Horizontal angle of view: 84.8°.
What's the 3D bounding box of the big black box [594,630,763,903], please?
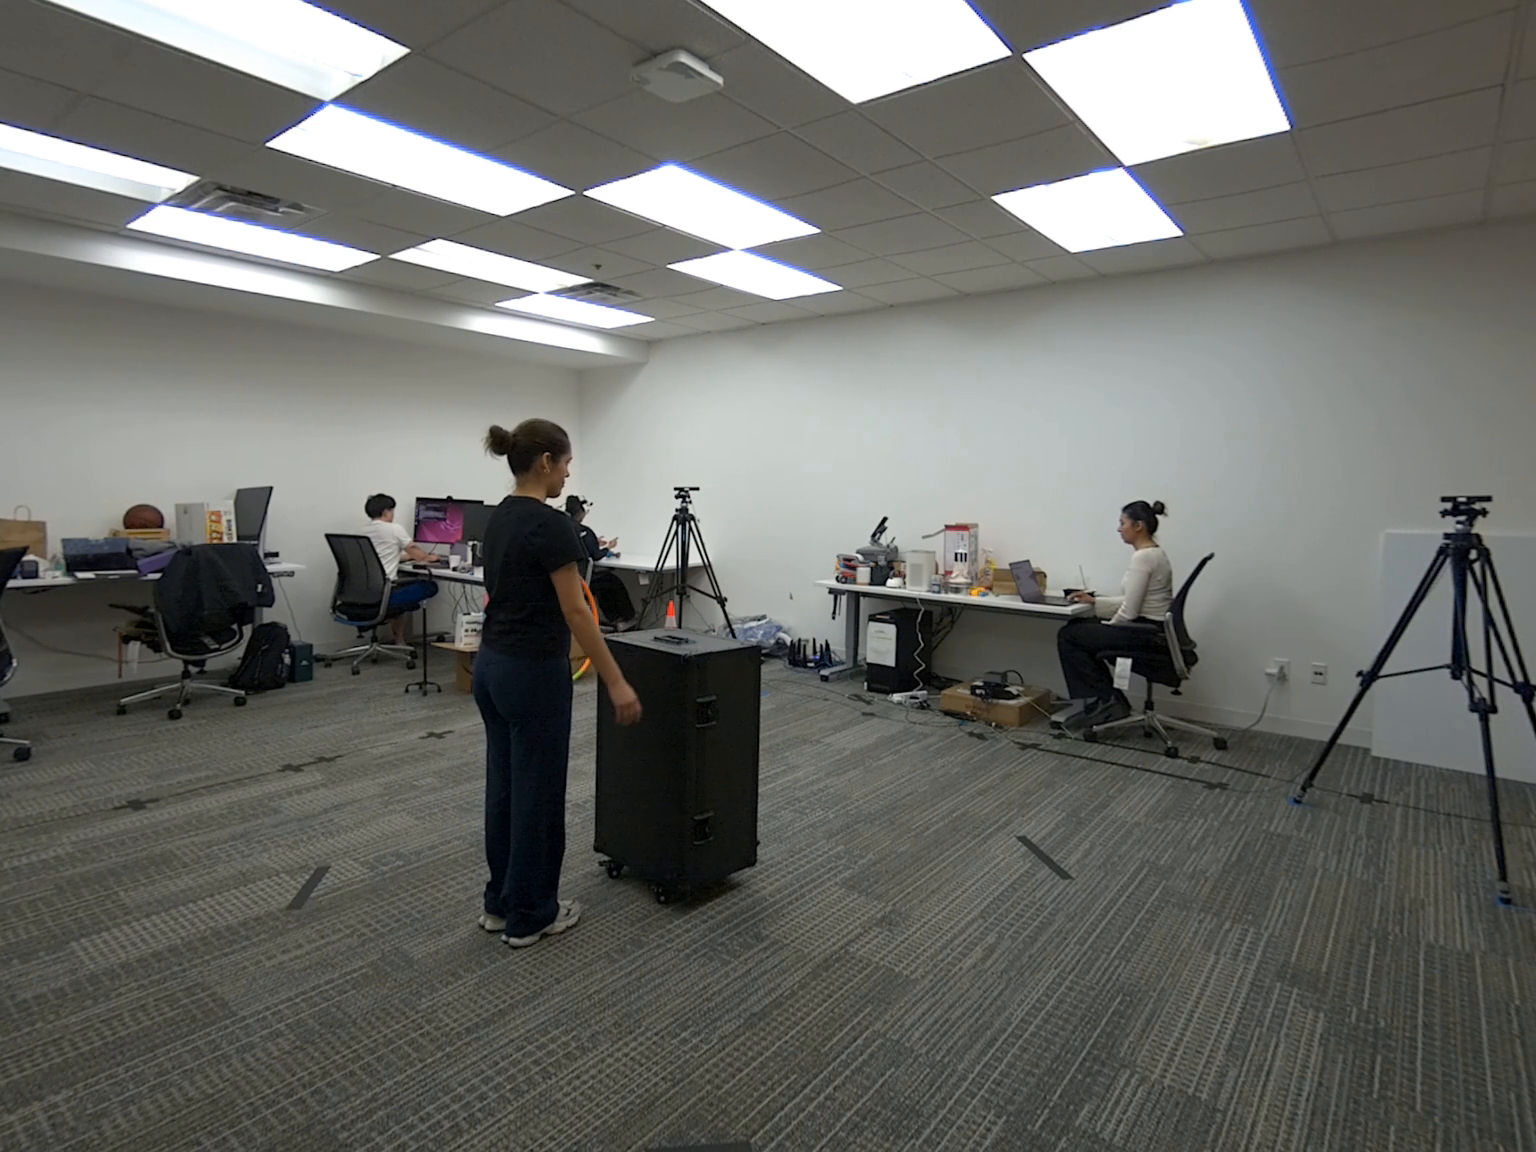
[{"bbox_3d":[-0.312,0.647,3.044,0.539,0.860,0.384,4,3,44],"label":"big black box"}]
